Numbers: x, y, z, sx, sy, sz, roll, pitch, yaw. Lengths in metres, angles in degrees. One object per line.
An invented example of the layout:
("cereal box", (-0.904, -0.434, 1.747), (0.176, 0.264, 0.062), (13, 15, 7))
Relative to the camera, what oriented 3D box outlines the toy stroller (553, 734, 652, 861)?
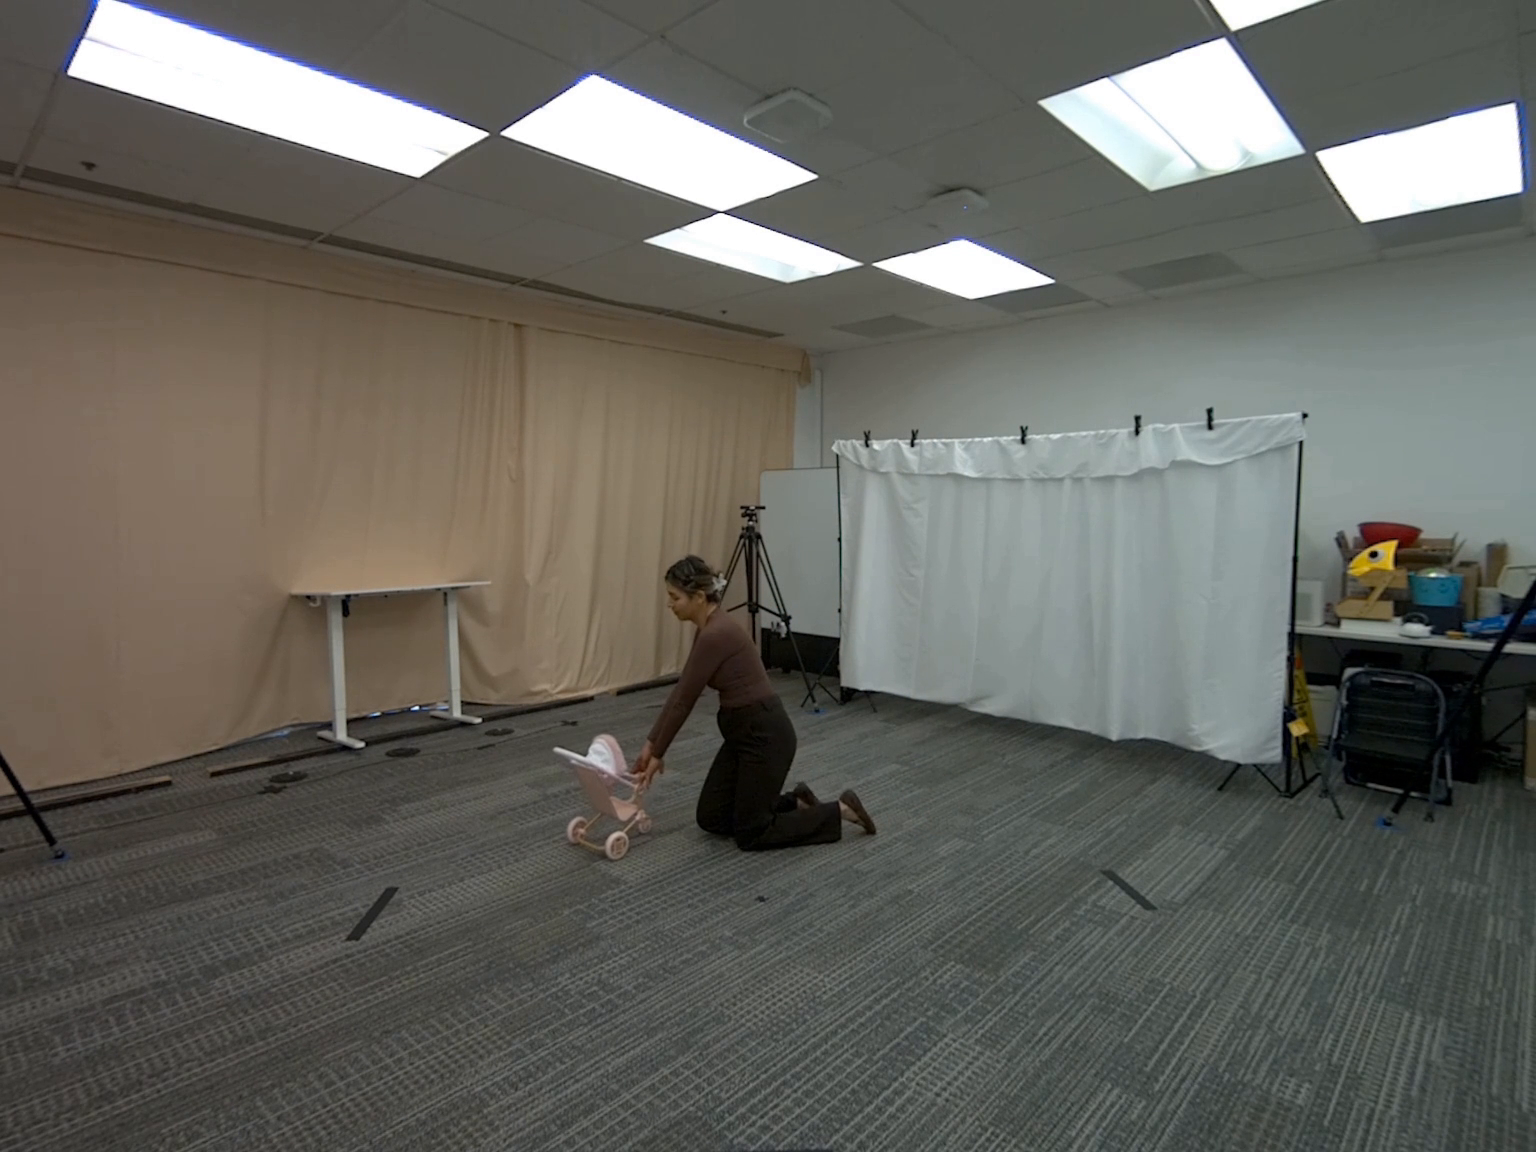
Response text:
("toy stroller", (-0.653, 0.890, 3.454), (0.291, 0.529, 0.333), (3, 18, 44))
